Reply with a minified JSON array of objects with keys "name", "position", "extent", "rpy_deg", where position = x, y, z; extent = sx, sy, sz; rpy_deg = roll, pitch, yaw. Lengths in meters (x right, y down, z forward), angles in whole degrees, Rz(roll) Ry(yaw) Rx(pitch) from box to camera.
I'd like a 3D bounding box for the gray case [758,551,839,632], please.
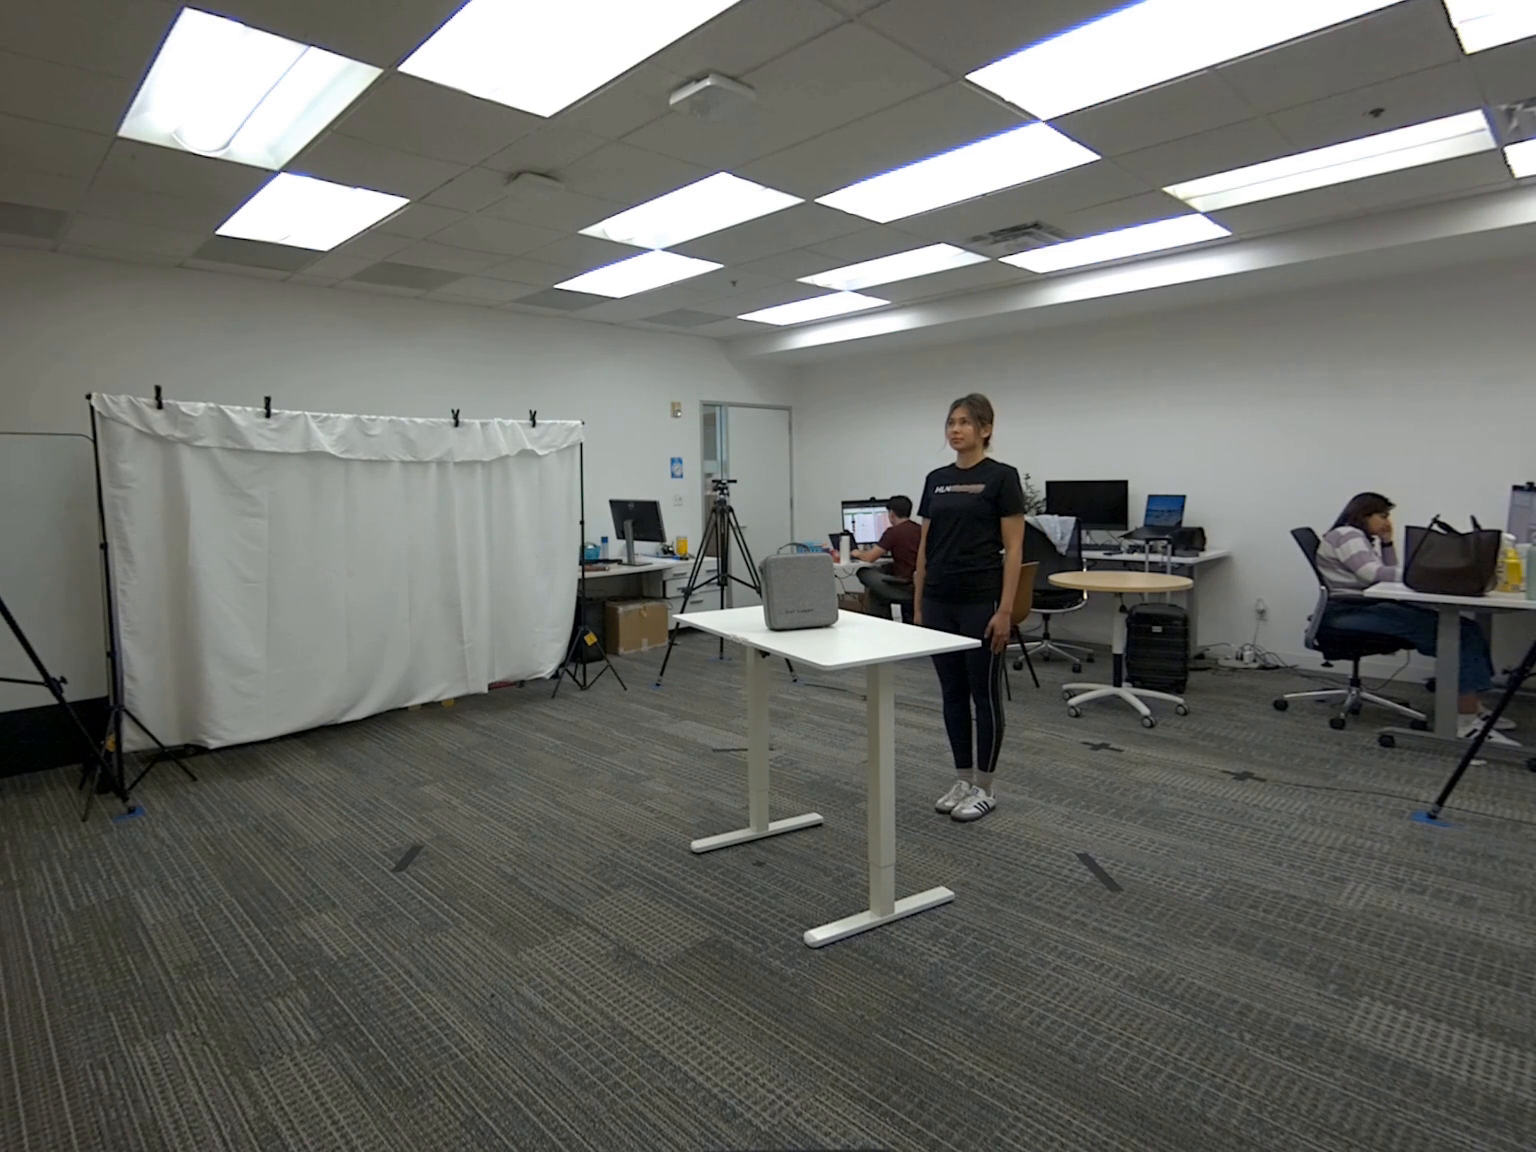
[{"name":"gray case","position":[0.109,0.047,2.958],"extent":[0.253,0.262,0.105],"rpy_deg":[-2,-5,-17]}]
